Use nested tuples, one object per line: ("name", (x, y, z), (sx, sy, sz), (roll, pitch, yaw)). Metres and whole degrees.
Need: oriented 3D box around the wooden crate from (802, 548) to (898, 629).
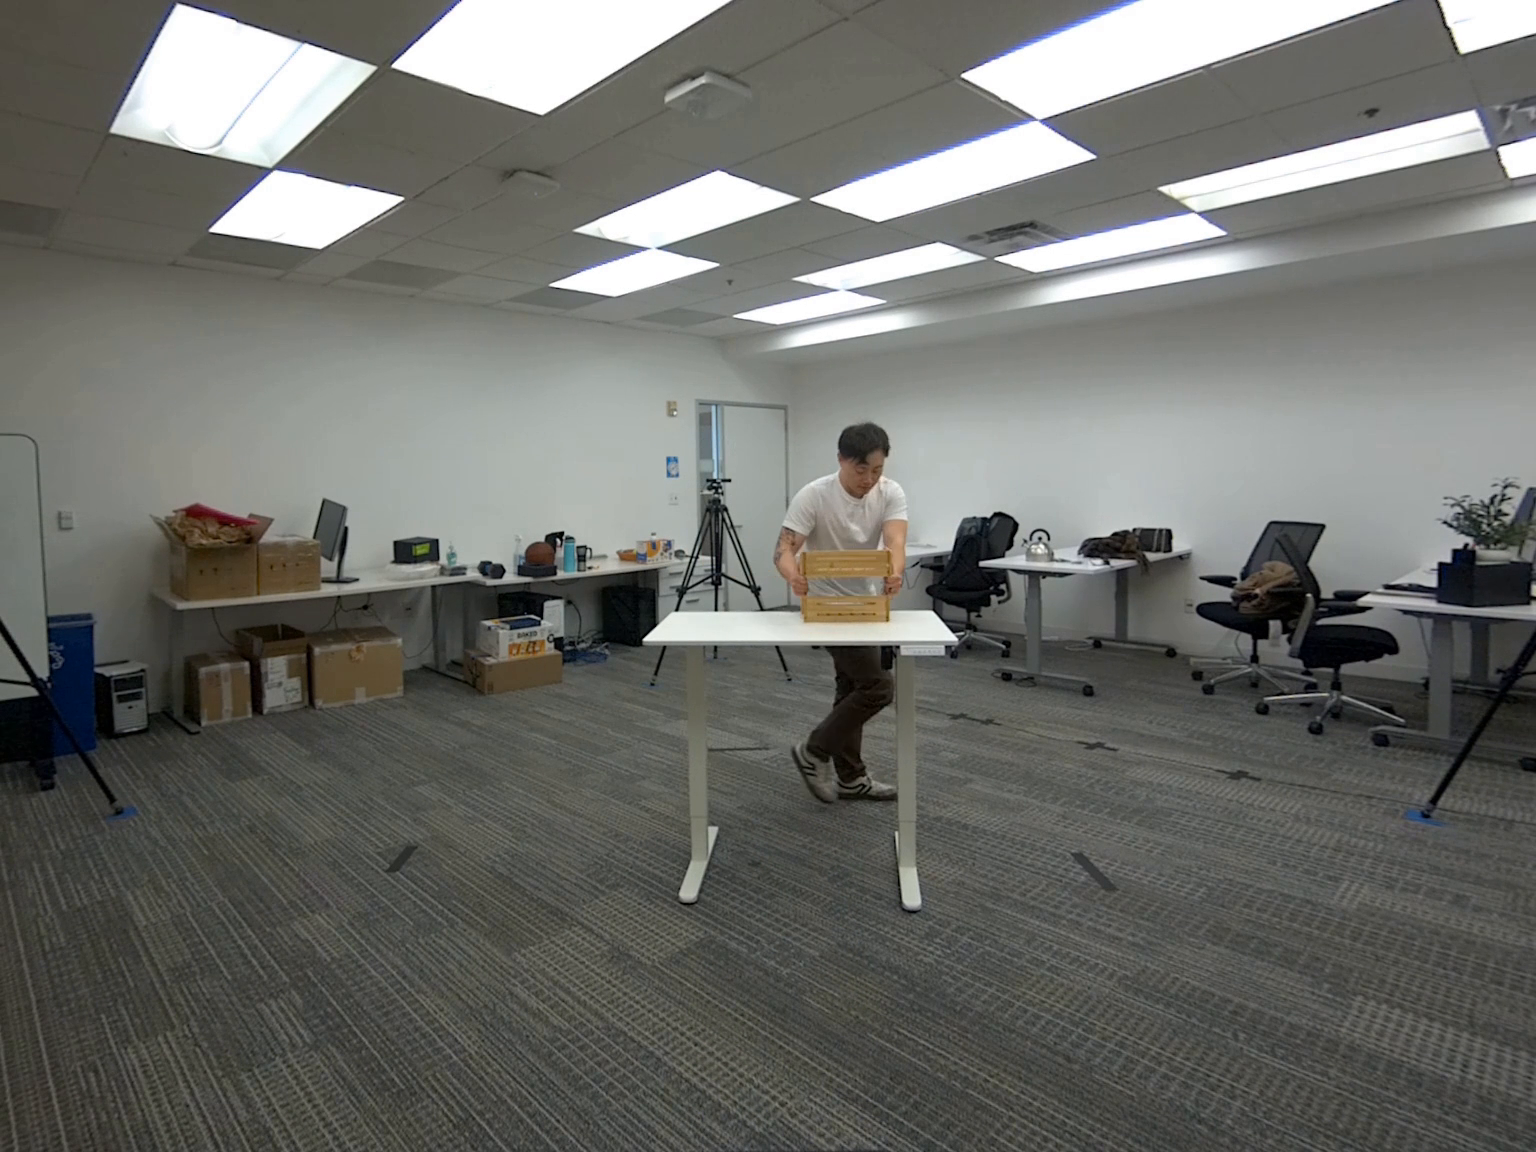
("wooden crate", (0.289, 0.026, 3.127), (0.326, 0.272, 0.302), (0, 5, 4))
